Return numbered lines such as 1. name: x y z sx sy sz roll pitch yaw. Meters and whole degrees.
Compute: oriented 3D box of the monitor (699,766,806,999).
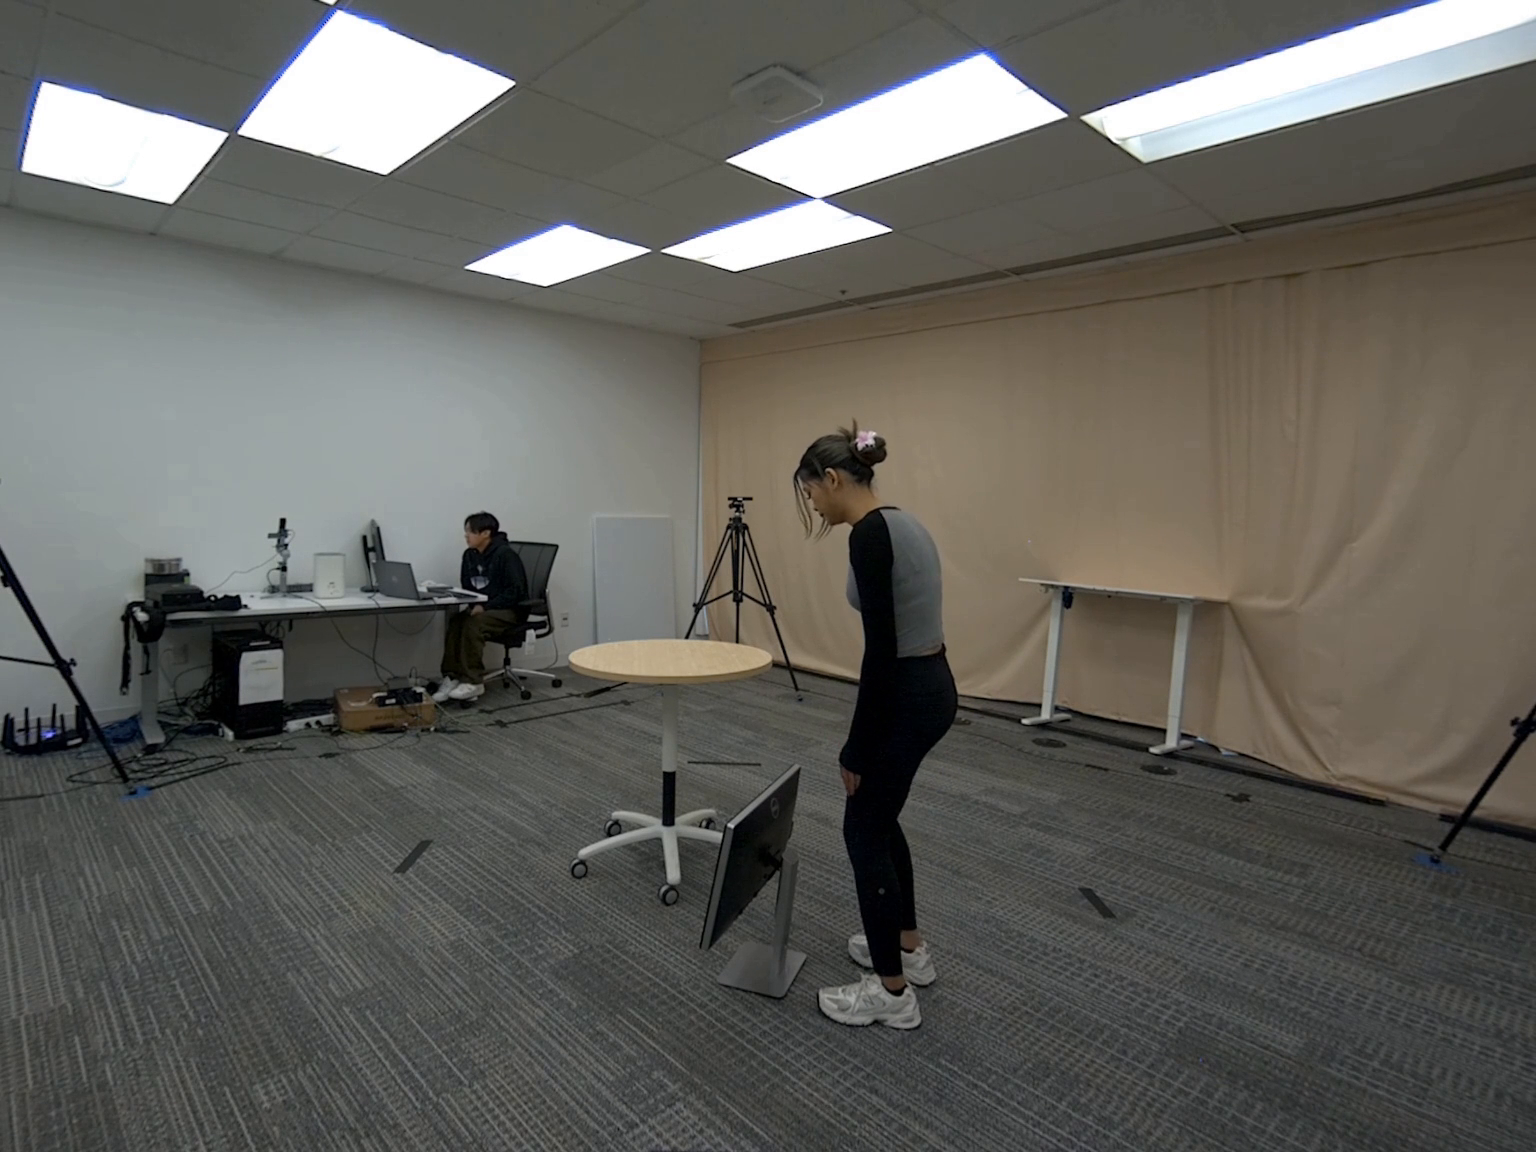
1. monitor: -0.011 0.903 2.467 0.190 0.521 0.532 1 5 20
